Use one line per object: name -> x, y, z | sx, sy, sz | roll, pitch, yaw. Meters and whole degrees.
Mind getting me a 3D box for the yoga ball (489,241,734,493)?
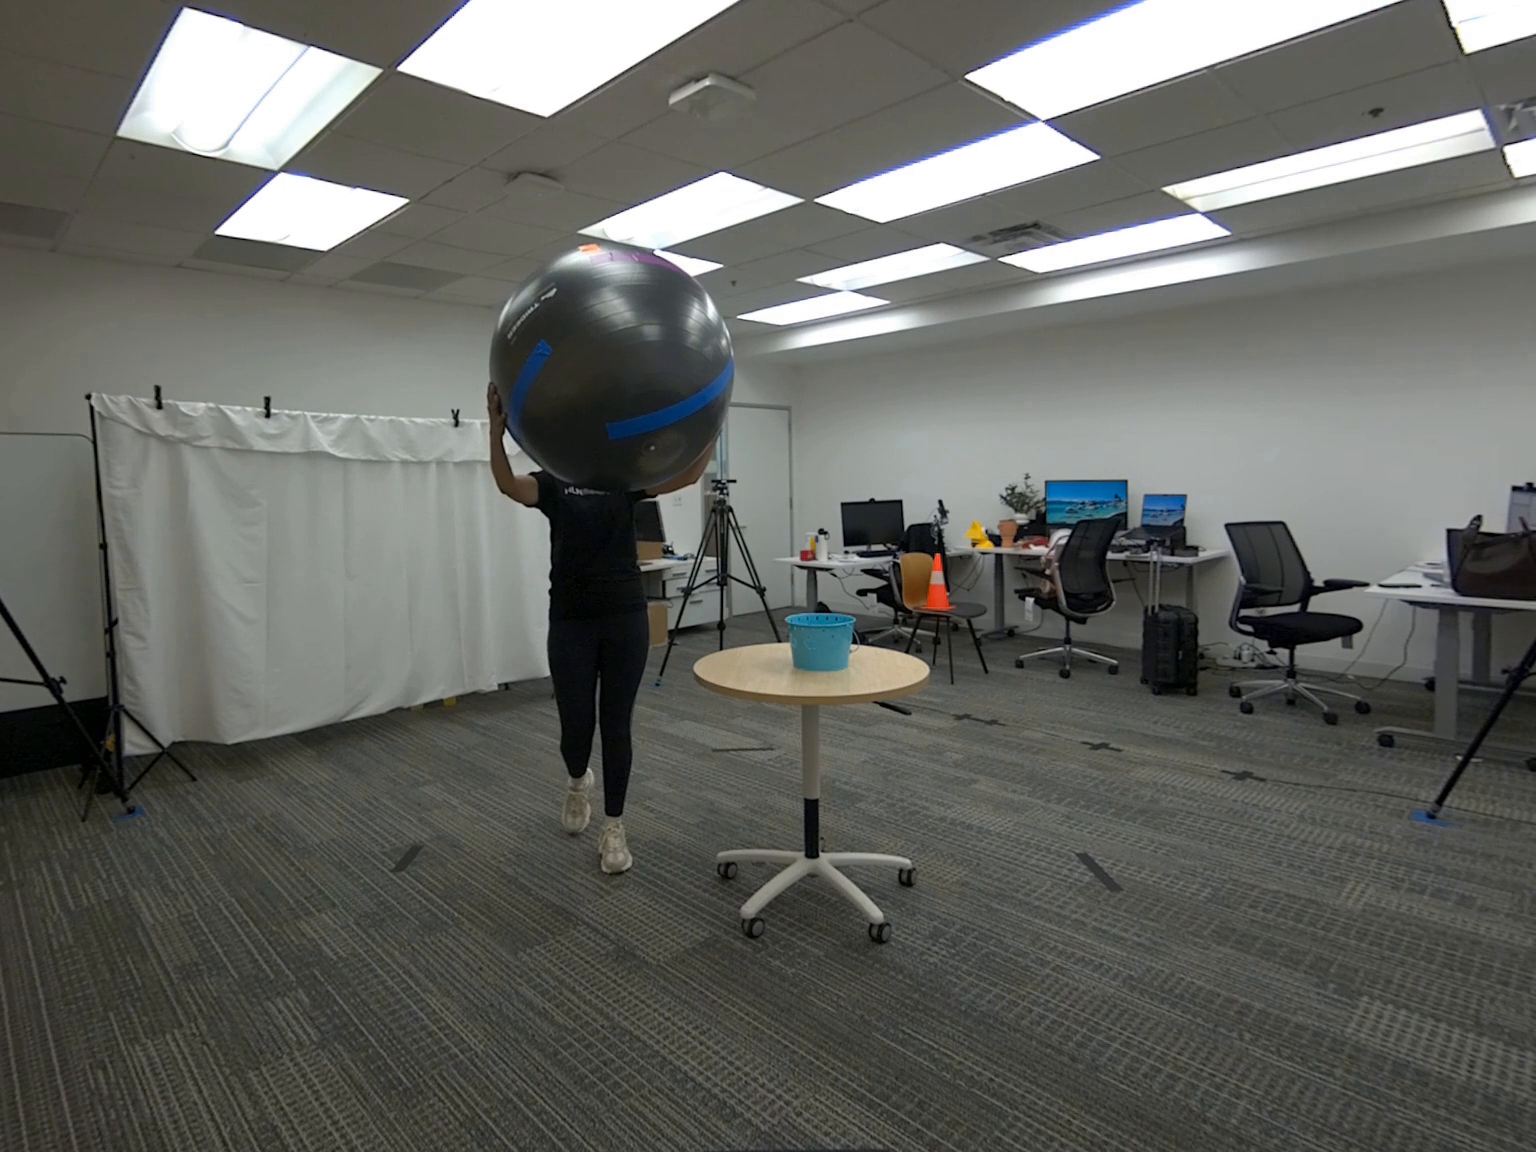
yoga ball -> -0.487, -0.636, 2.666 | 0.757, 0.755, 0.762 | -1, 5, -2
